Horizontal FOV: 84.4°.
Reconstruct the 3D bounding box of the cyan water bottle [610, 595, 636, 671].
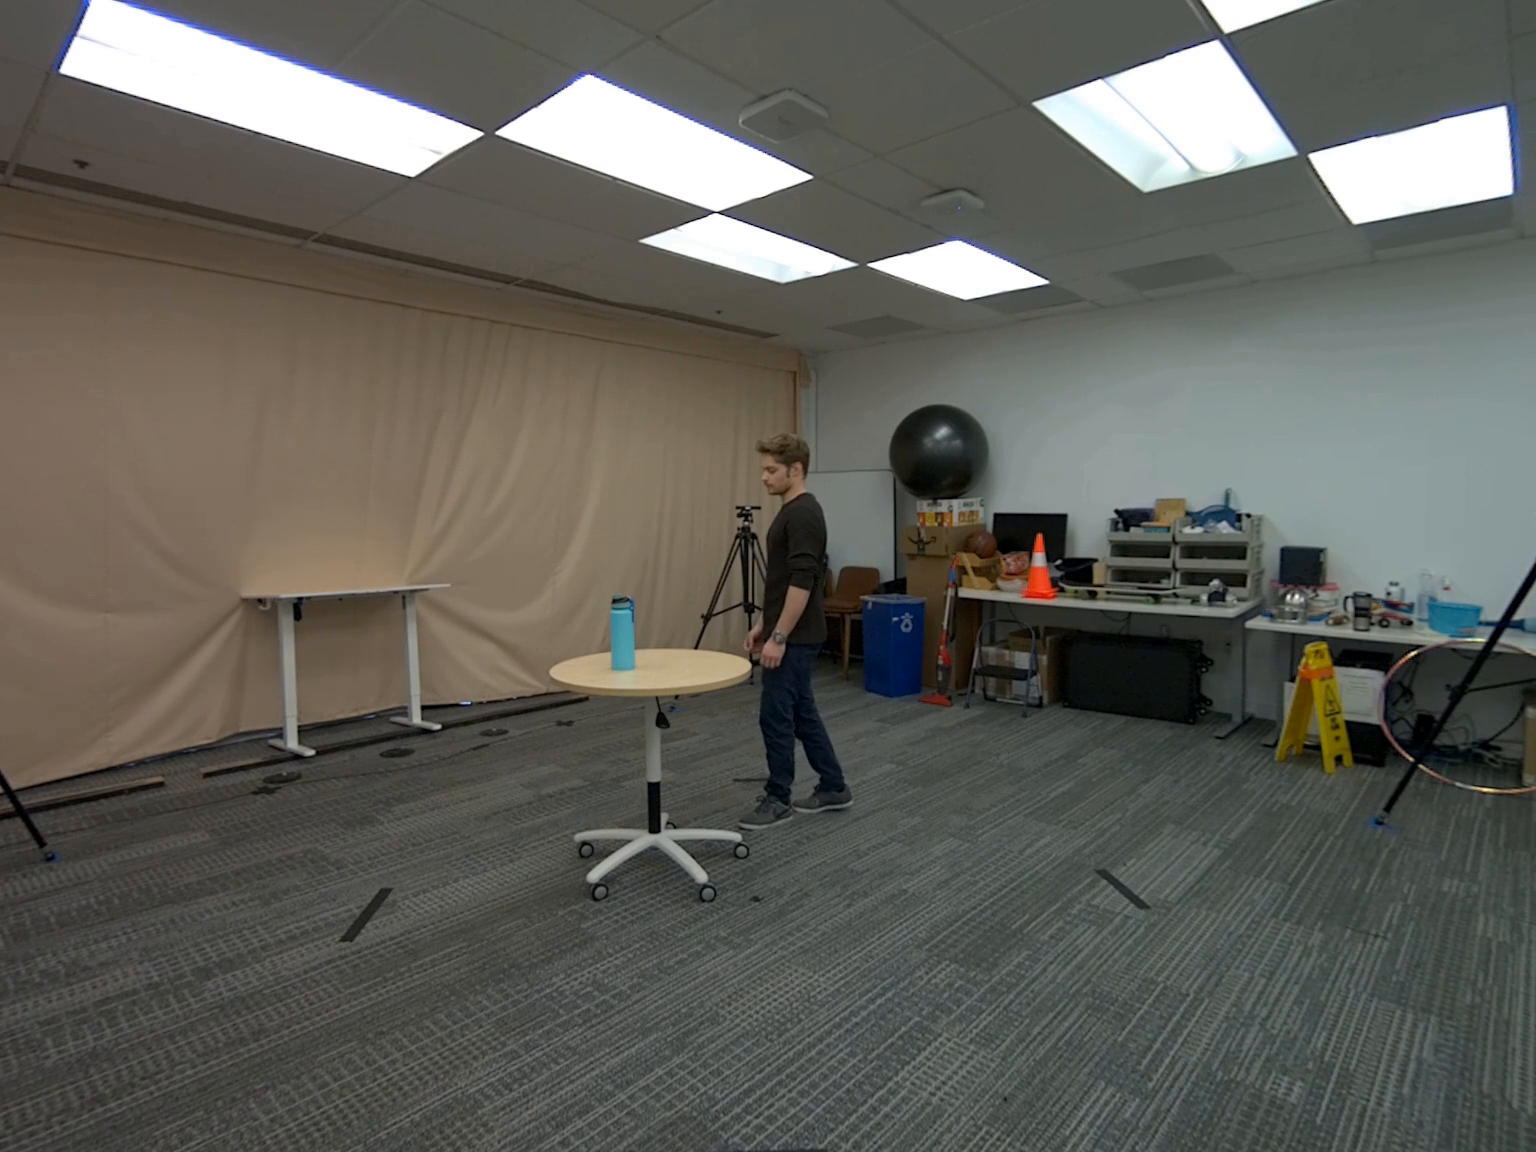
[{"bbox_3d":[-0.554,0.210,3.187,0.092,0.283,0.092,1,2,-2],"label":"cyan water bottle"}]
